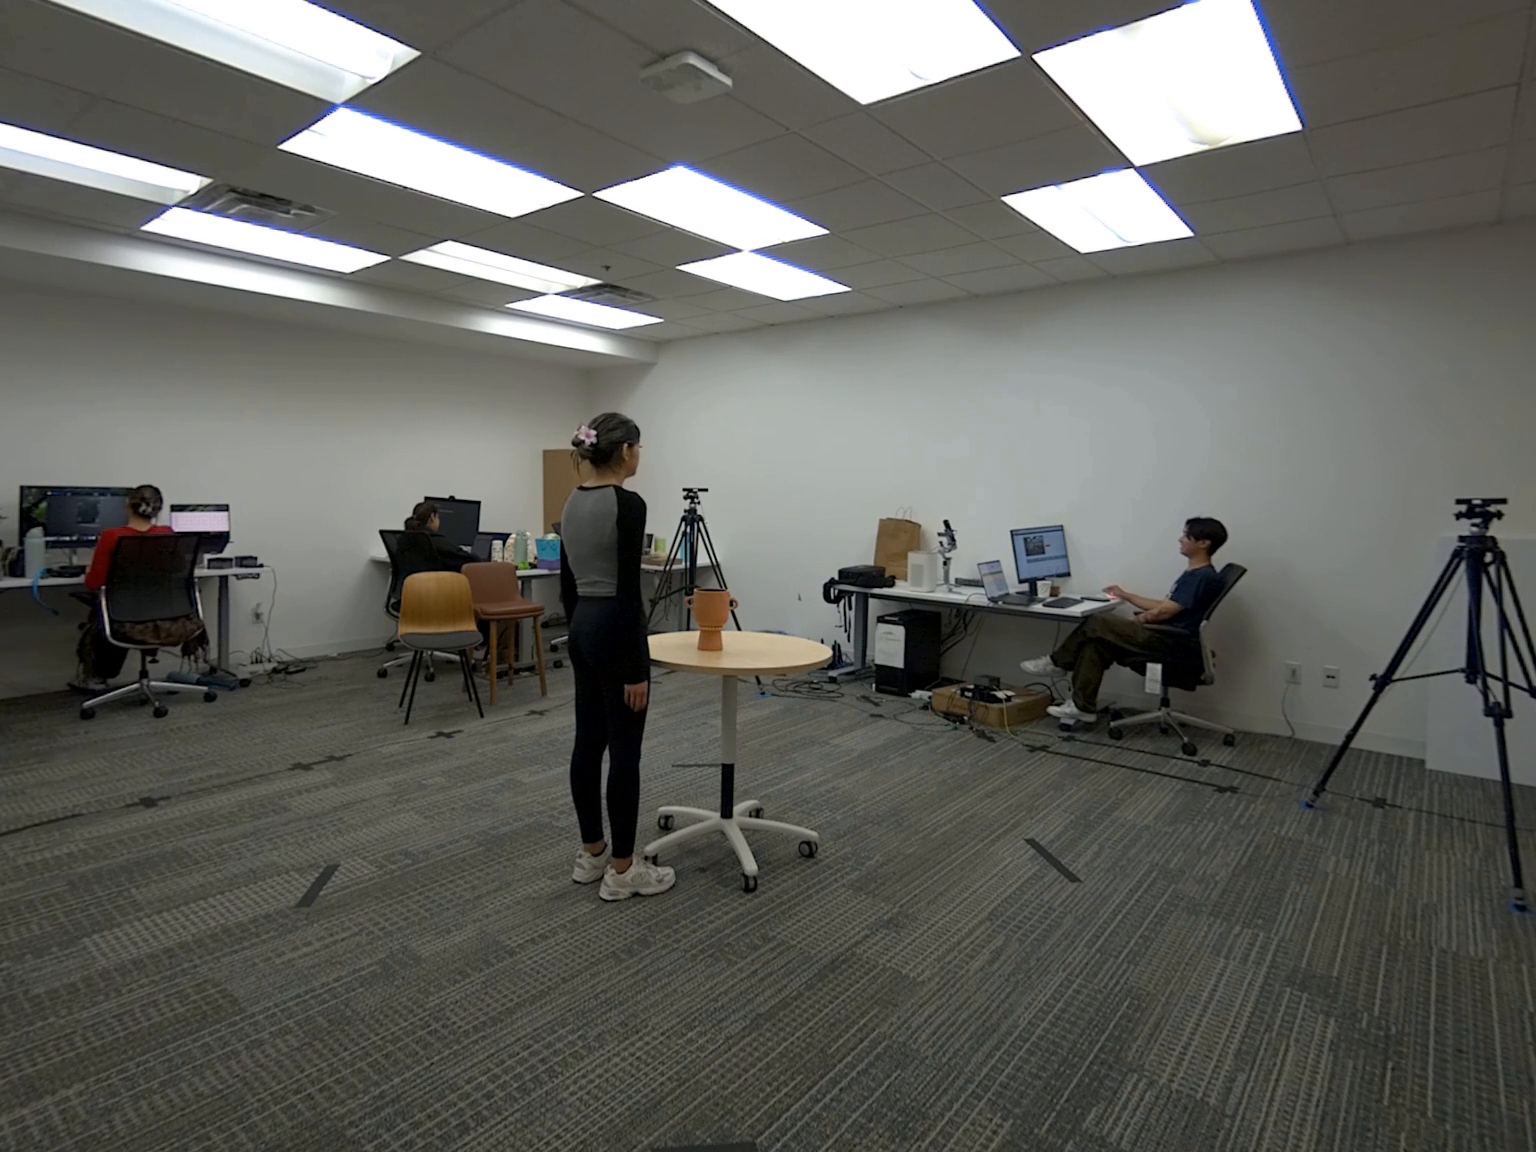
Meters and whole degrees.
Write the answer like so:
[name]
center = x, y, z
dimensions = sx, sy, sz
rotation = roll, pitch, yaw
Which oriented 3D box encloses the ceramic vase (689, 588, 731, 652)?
[ceramic vase]
center = -0.224, 0.163, 3.172
dimensions = 0.164, 0.219, 0.131
rotation = 5, 5, 35
